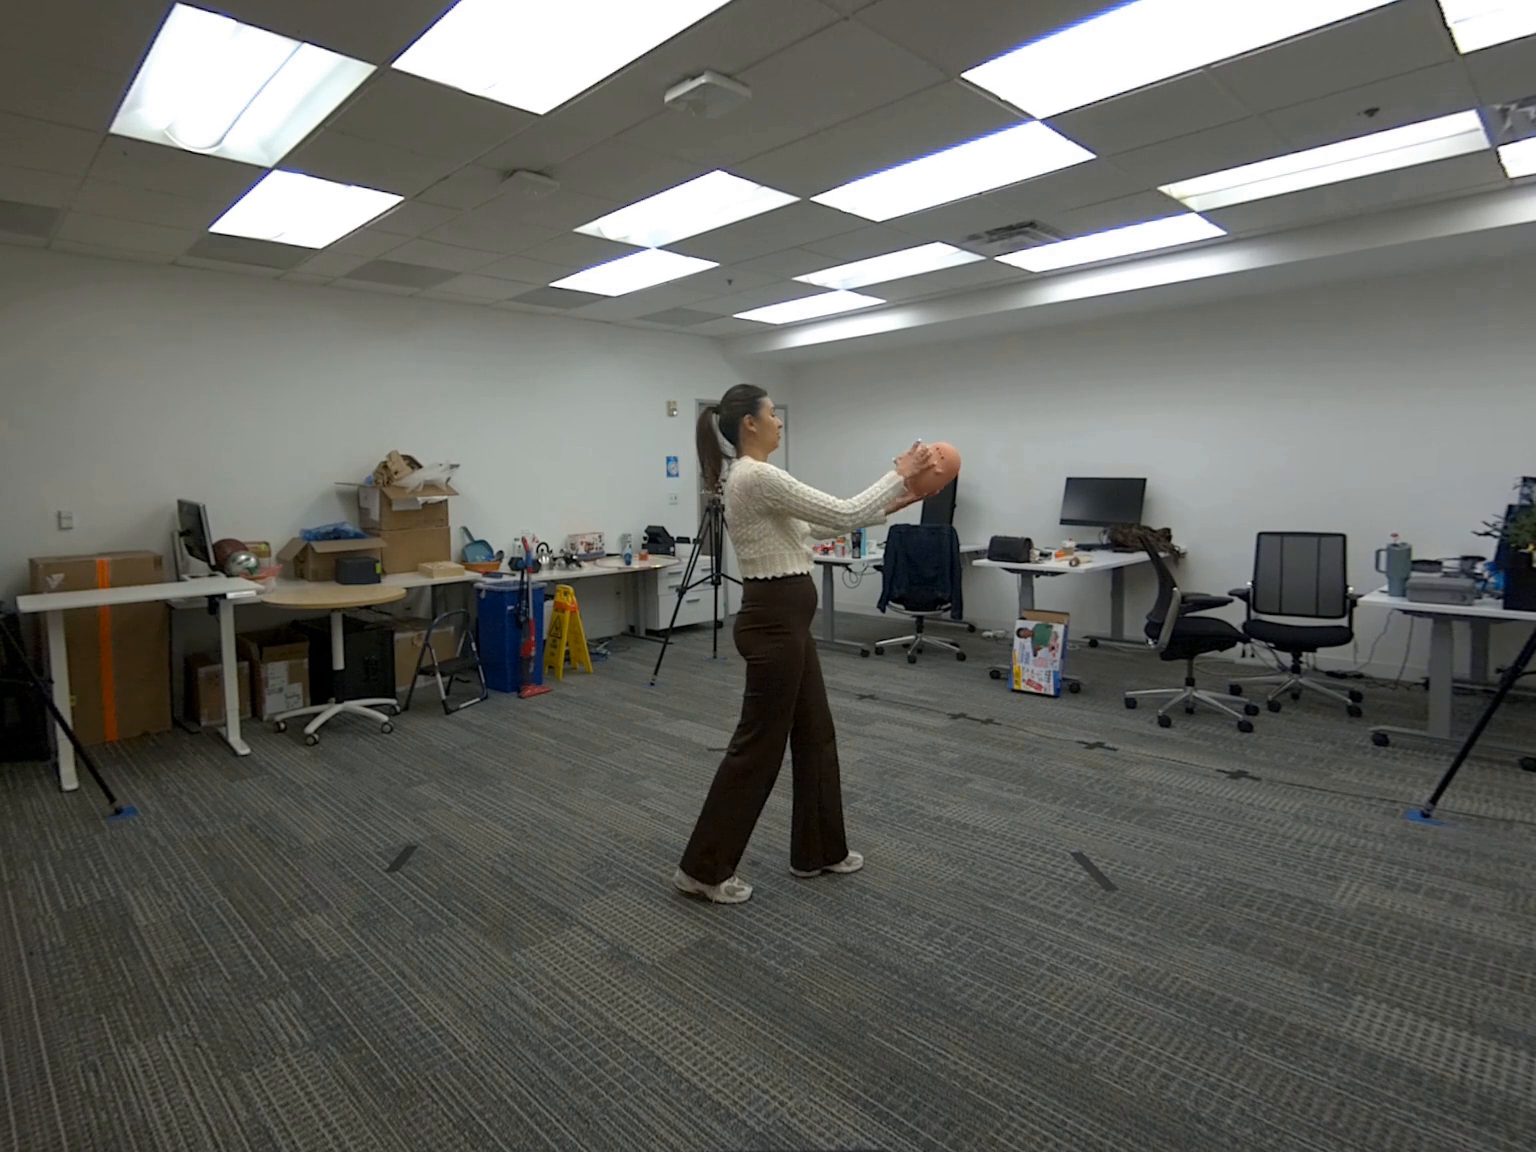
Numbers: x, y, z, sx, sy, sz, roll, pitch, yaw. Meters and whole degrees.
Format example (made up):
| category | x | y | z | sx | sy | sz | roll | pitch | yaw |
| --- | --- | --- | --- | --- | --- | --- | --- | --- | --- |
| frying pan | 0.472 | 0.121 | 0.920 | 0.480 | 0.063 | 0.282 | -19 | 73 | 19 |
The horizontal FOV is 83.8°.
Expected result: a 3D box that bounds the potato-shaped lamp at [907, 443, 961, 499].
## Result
| category | x | y | z | sx | sy | sz | roll | pitch | yaw |
| --- | --- | --- | --- | --- | --- | --- | --- | --- | --- |
| potato-shaped lamp | 0.556 | -0.370 | 2.919 | 0.197 | 0.166 | 0.170 | -16 | 31 | -6 |
